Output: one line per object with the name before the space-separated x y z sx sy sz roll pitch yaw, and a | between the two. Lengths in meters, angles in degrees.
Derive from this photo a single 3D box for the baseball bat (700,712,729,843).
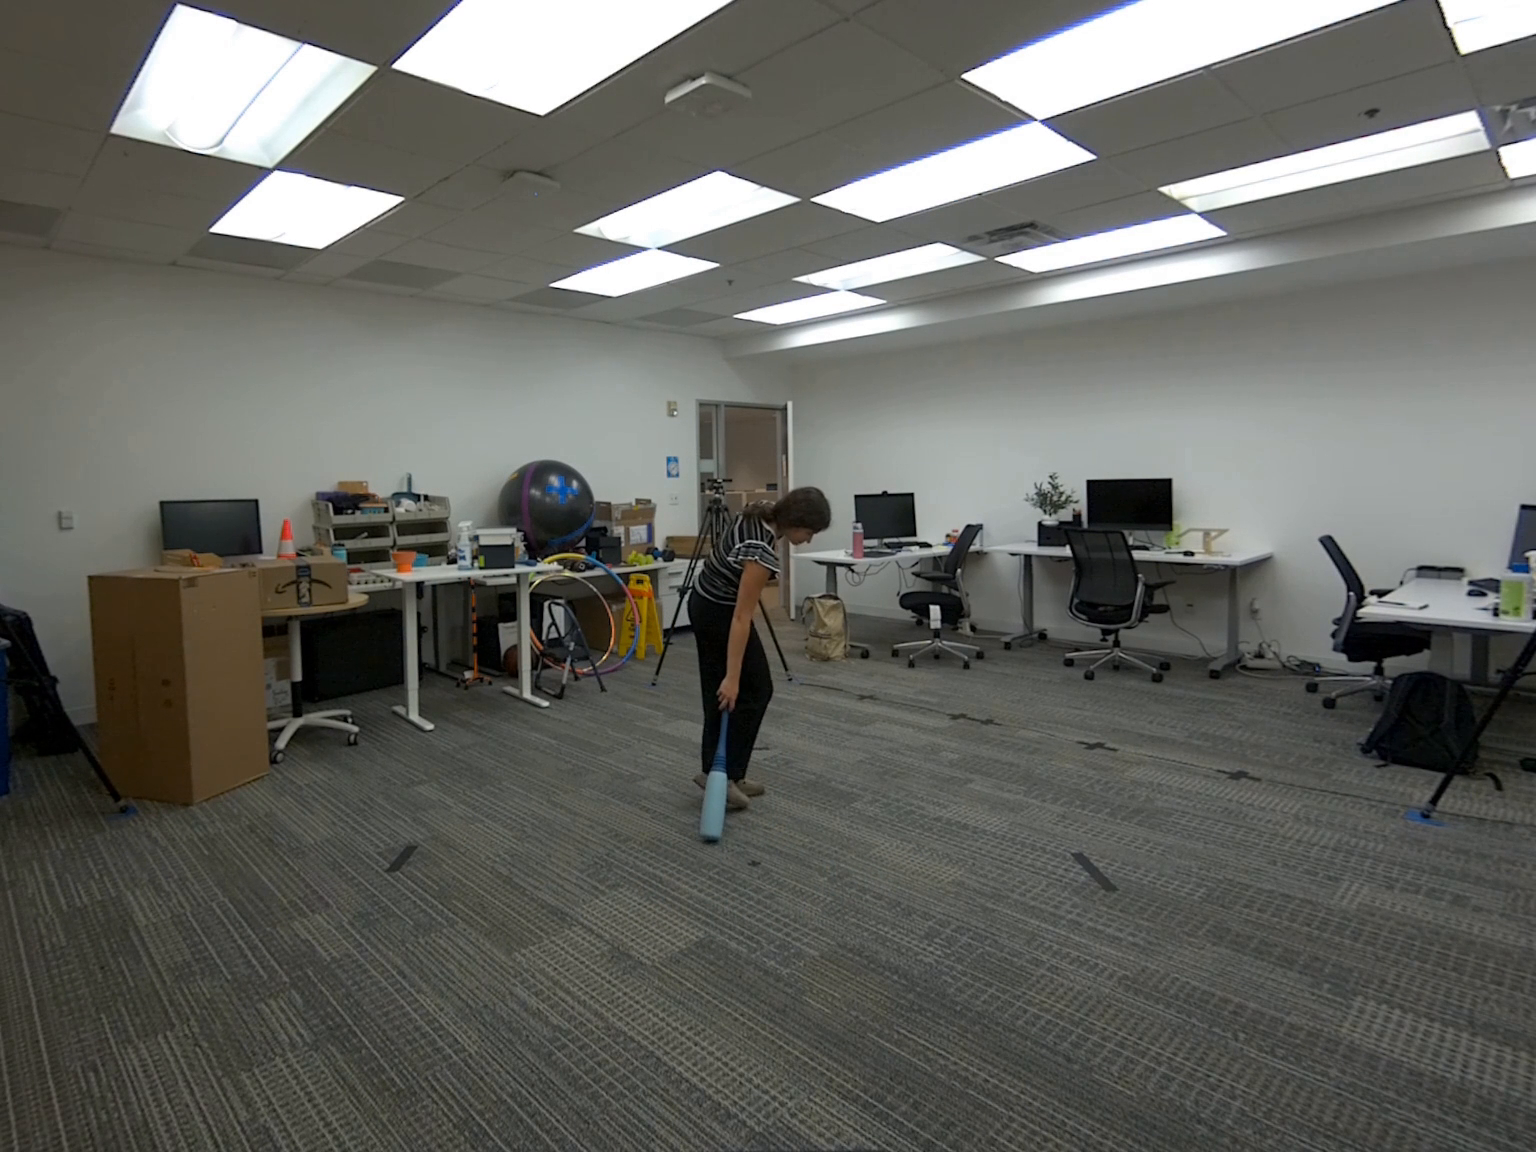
baseball bat | -0.201 0.774 3.411 0.089 0.554 0.087 5 -27 1
